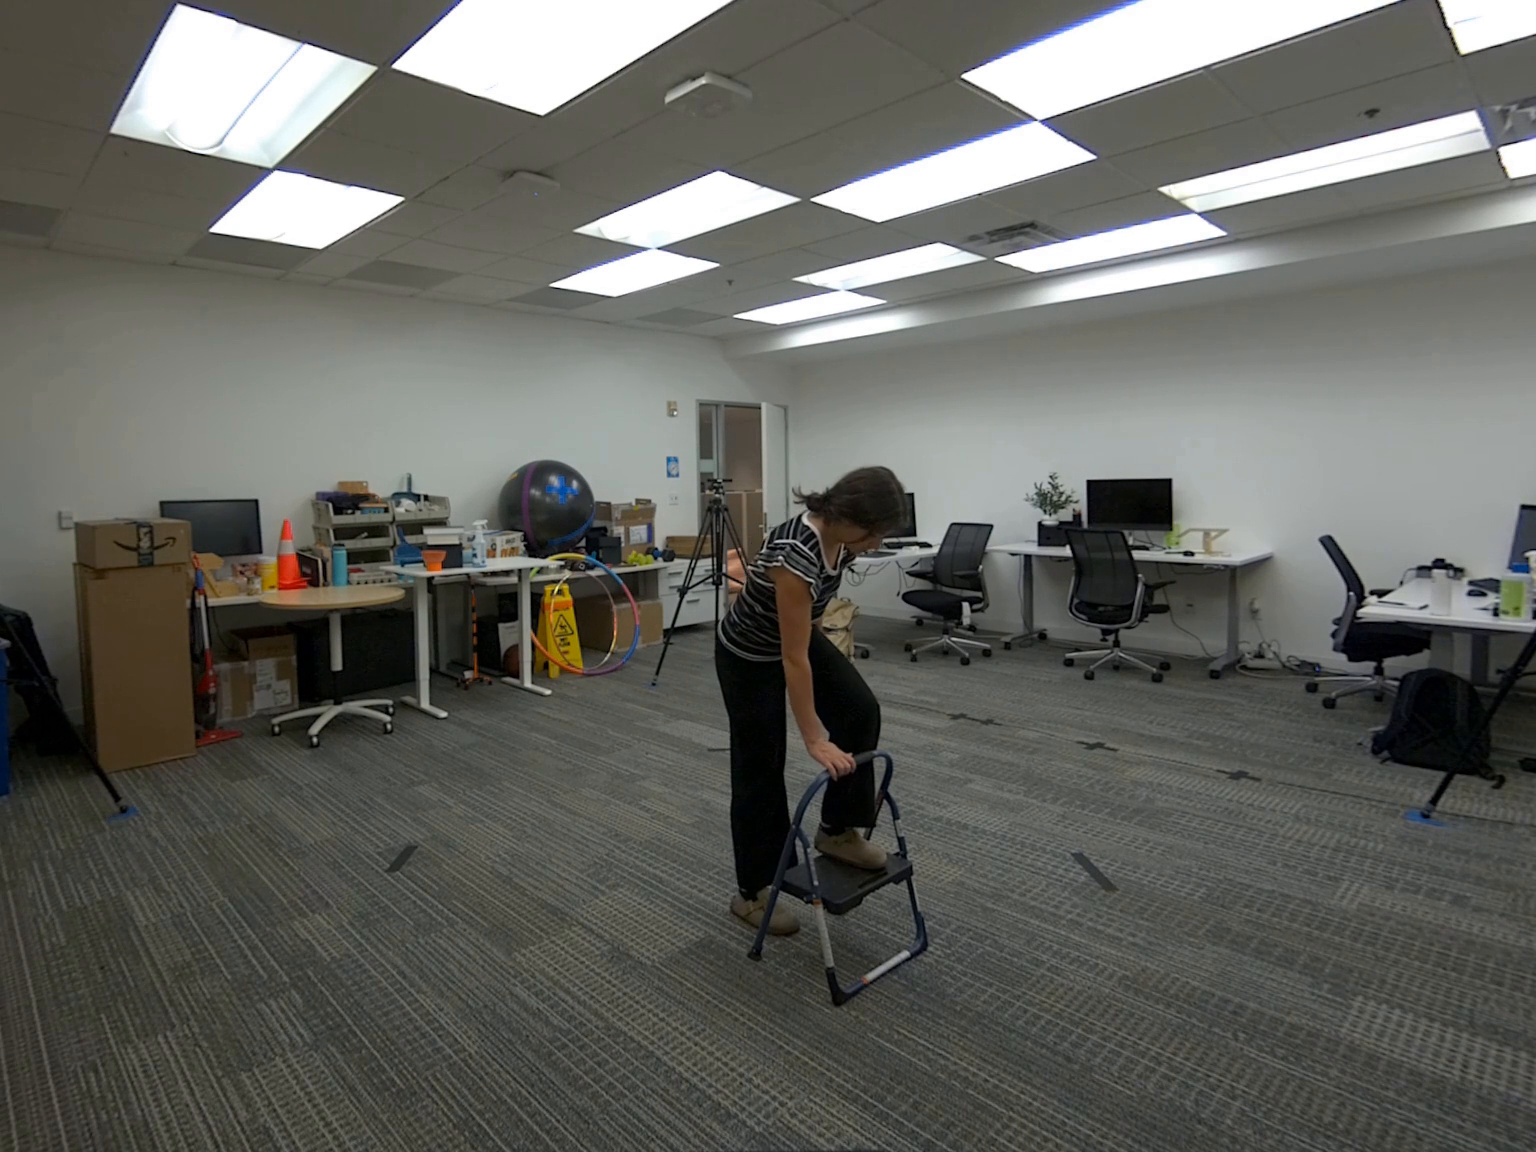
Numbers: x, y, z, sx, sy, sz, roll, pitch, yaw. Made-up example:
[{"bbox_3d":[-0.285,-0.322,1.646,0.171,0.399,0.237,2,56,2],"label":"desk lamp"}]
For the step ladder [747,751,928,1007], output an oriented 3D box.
[{"bbox_3d":[0.209,0.811,2.493,0.419,0.604,0.360,-6,6,-44],"label":"step ladder"}]
